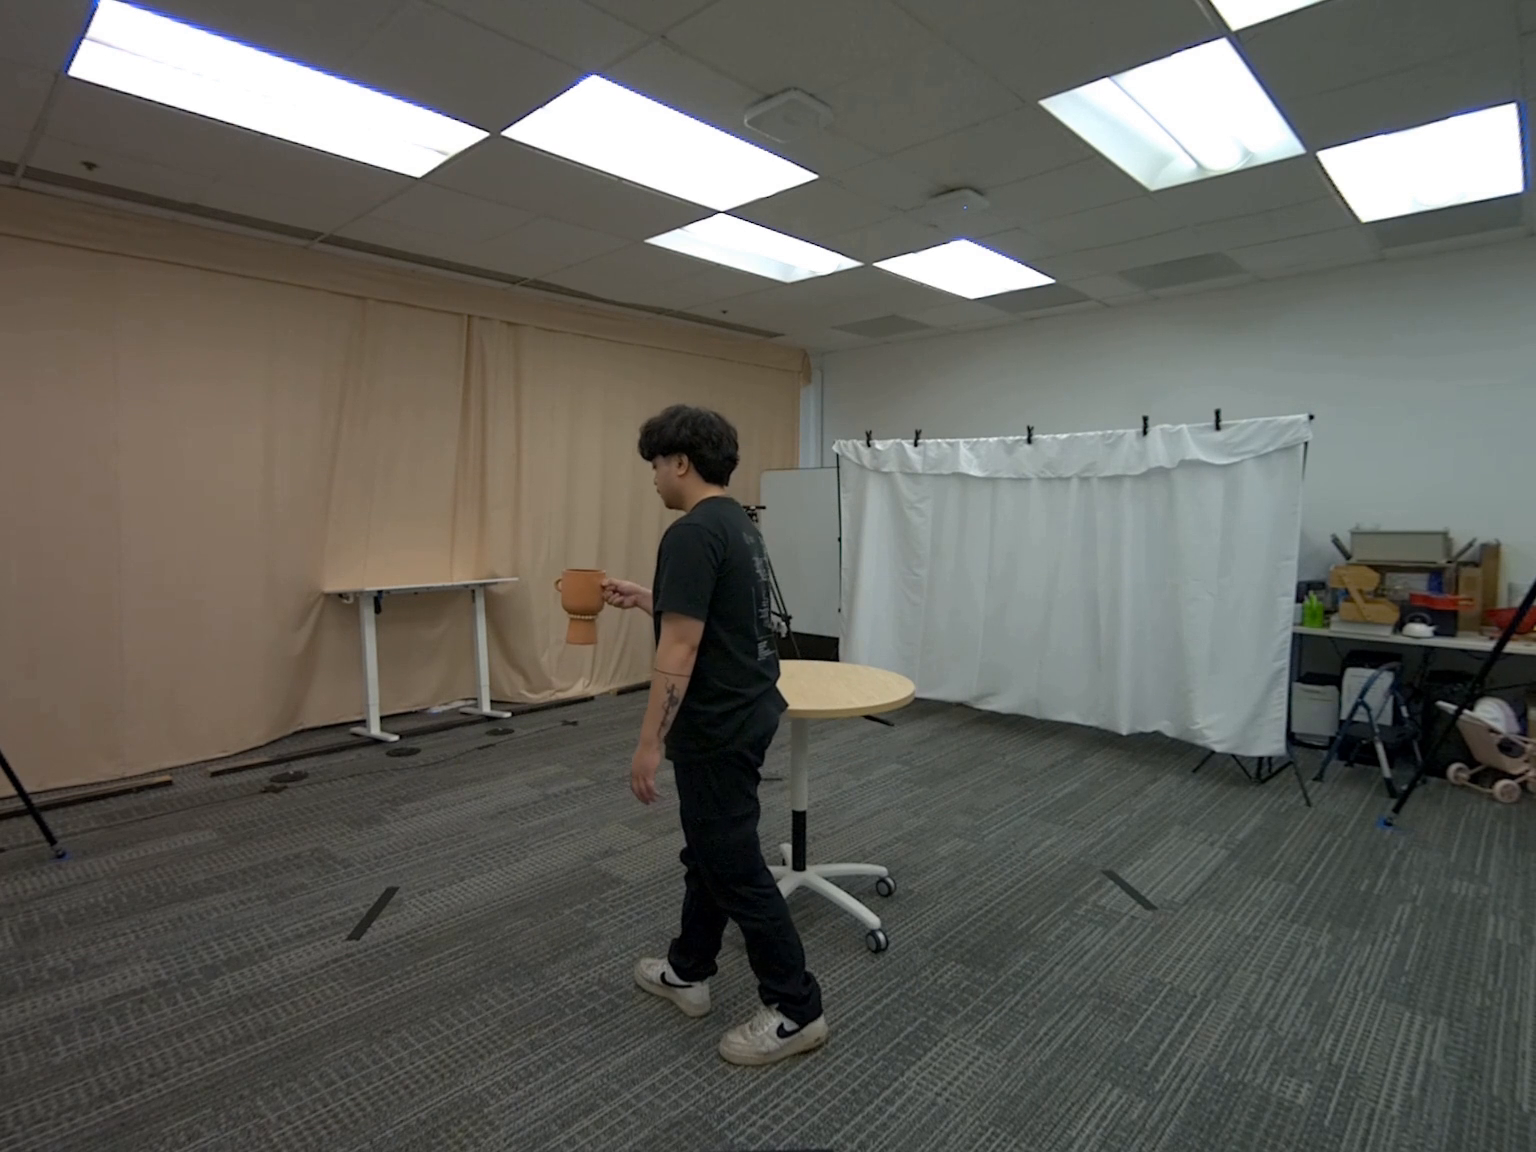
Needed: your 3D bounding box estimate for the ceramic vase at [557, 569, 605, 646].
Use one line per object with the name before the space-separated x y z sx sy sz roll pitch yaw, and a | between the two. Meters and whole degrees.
ceramic vase | -0.554 0.094 2.552 0.130 0.219 0.164 1 2 -37
